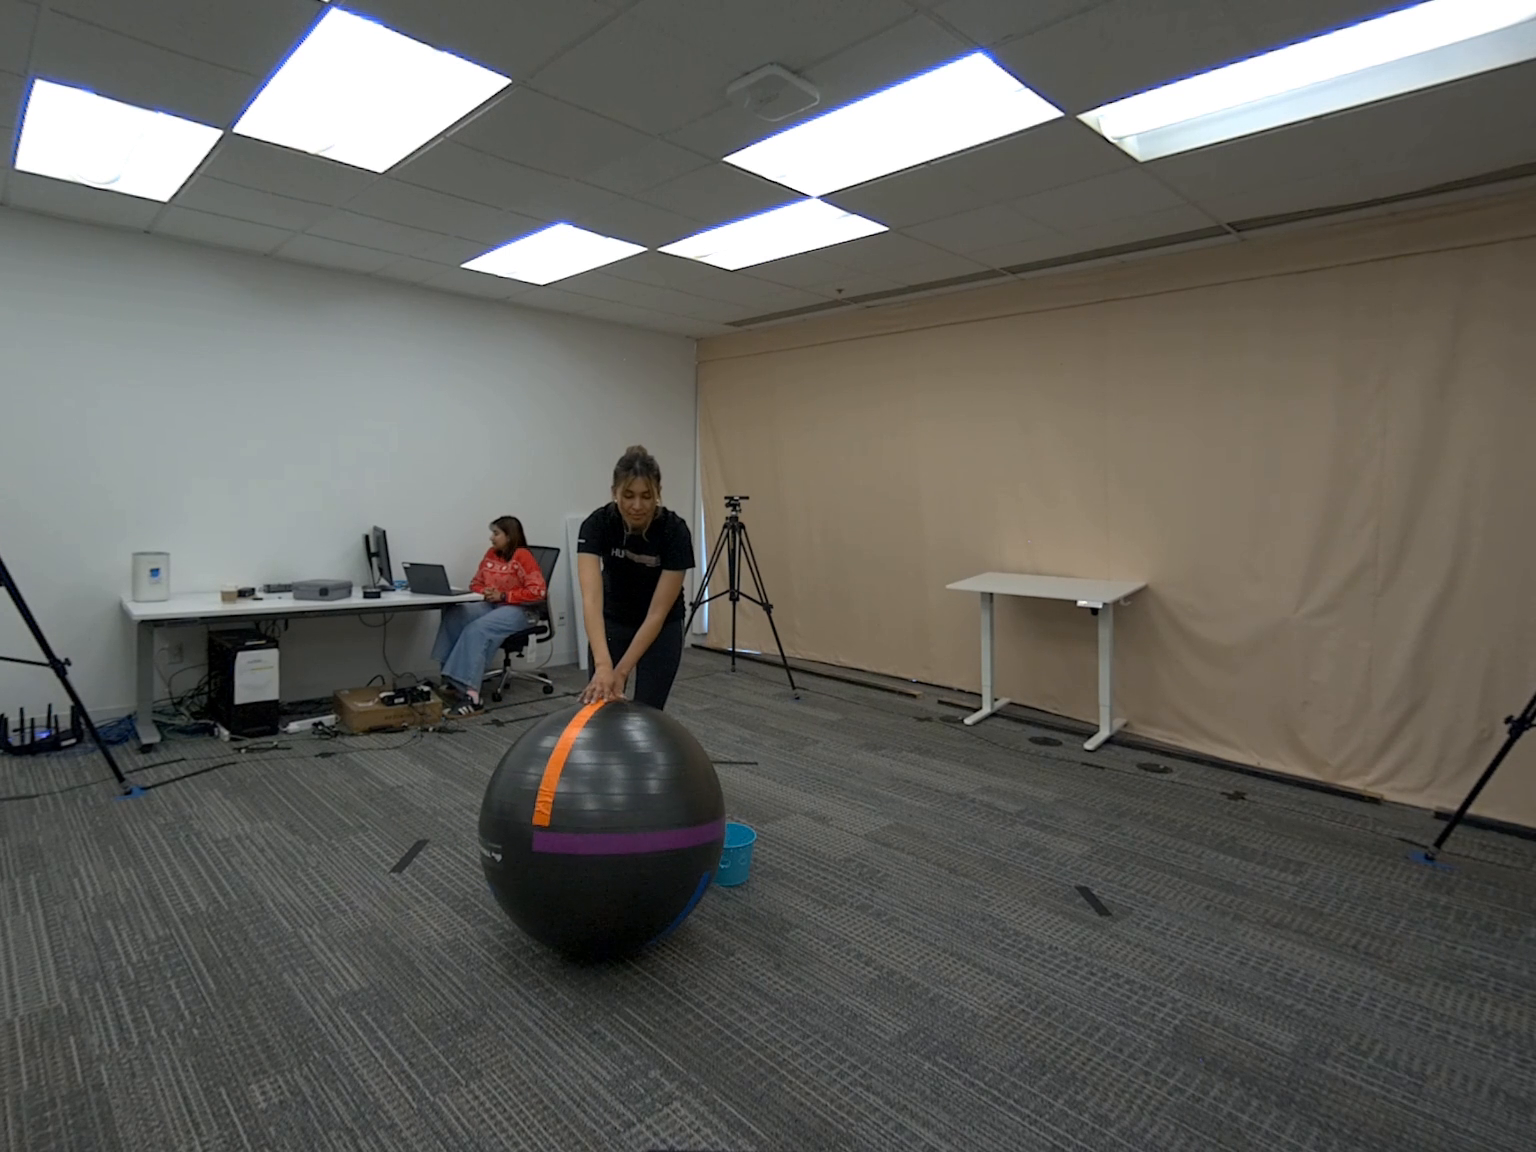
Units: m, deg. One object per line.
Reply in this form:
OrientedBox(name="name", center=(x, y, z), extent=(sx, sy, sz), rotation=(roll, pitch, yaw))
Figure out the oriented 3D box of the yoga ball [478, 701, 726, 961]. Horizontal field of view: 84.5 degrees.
OrientedBox(name="yoga ball", center=(-0.519, 0.775, 2.618), extent=(0.757, 0.756, 0.761), rotation=(1, 4, -1))
